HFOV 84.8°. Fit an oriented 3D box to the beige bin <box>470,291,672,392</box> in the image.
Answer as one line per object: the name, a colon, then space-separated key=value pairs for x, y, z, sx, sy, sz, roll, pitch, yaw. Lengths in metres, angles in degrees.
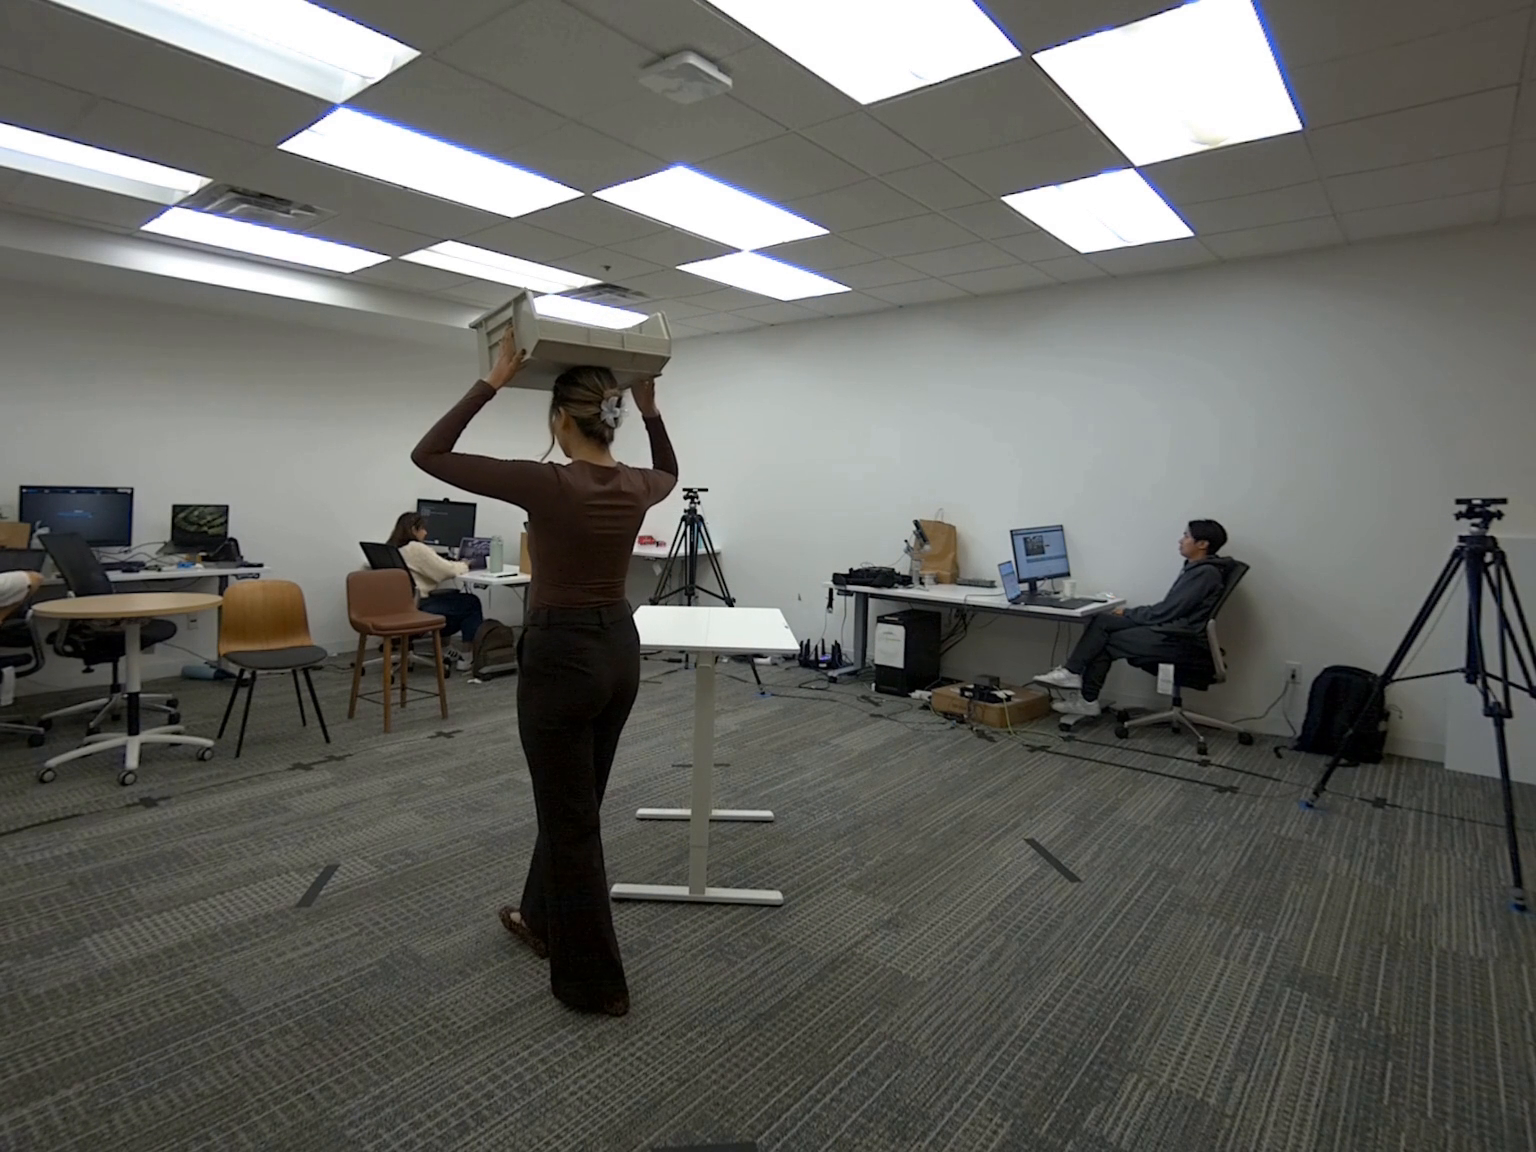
beige bin: x=-0.546 y=-0.628 z=2.341 sx=0.410 sy=0.189 sz=0.388 roll=-4 pitch=-1 yaw=-40
